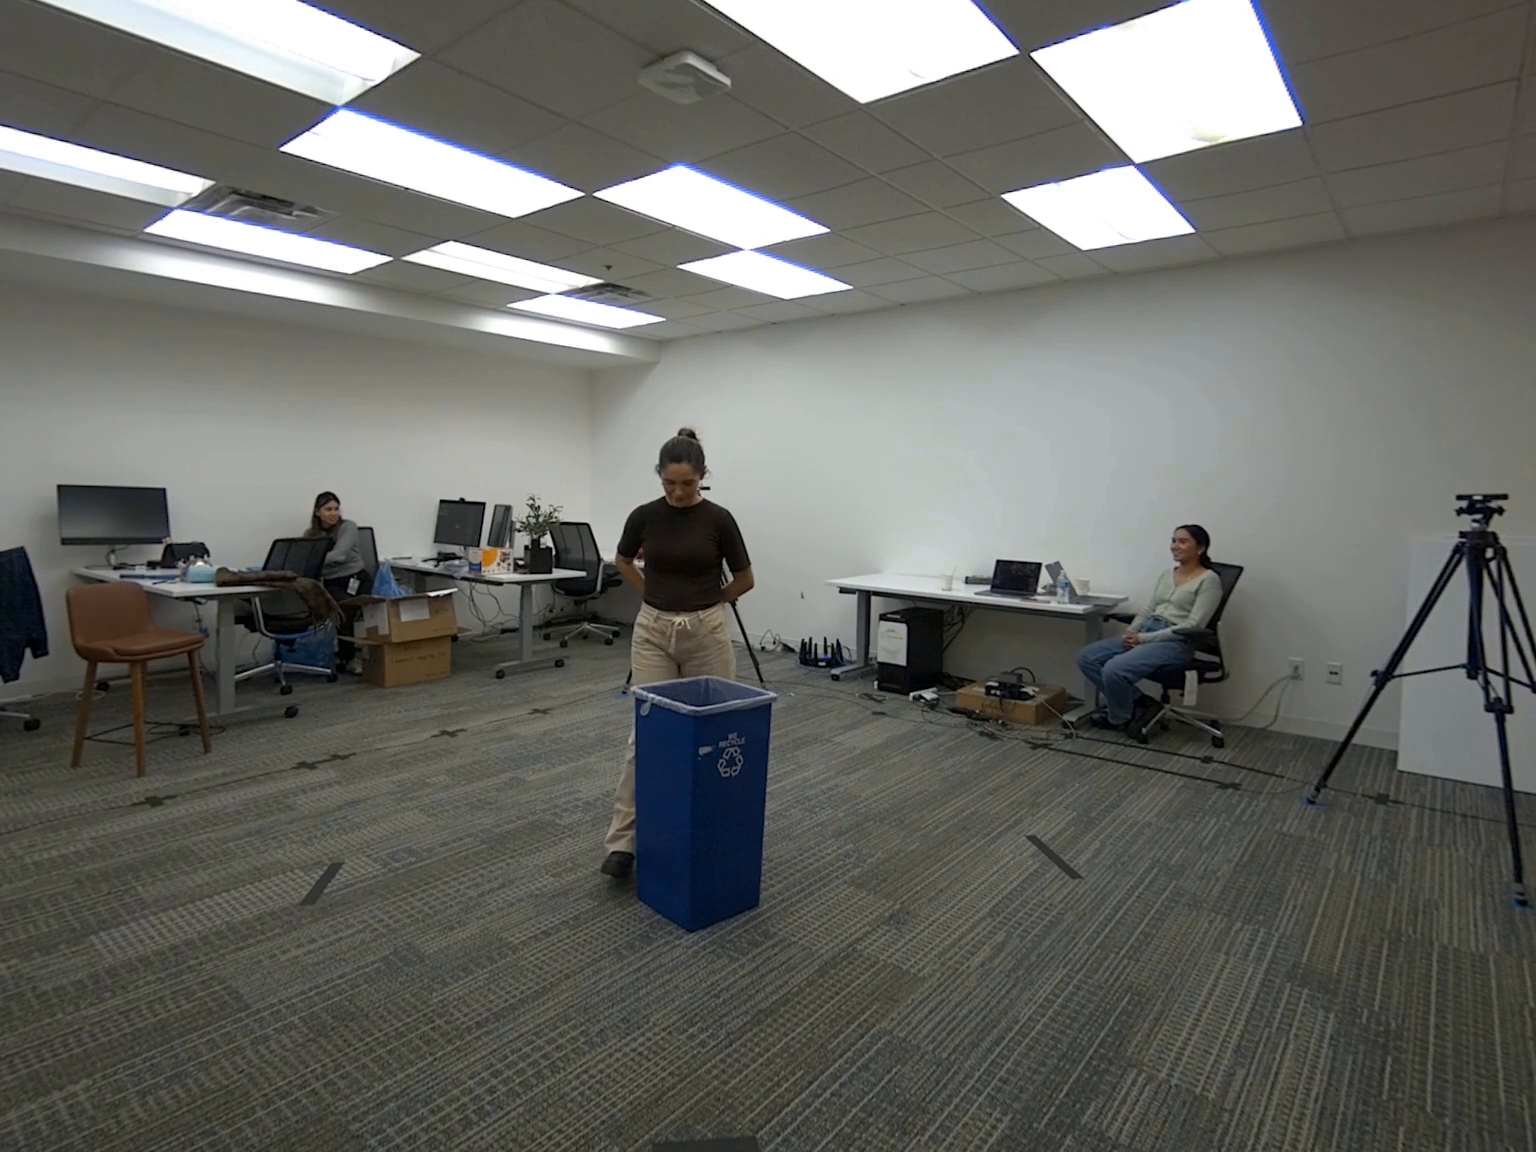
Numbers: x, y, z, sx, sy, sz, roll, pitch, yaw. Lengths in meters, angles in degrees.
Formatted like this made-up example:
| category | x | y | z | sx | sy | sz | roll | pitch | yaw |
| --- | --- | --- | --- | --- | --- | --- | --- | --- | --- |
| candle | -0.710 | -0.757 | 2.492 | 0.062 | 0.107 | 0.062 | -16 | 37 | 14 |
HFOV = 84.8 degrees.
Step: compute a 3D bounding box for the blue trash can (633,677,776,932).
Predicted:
| category | x | y | z | sx | sy | sz | roll | pitch | yaw |
| --- | --- | --- | --- | --- | --- | --- | --- | --- | --- |
| blue trash can | -0.225 | 0.731 | 2.833 | 0.366 | 0.712 | 0.387 | 0 | 3 | -44 |
